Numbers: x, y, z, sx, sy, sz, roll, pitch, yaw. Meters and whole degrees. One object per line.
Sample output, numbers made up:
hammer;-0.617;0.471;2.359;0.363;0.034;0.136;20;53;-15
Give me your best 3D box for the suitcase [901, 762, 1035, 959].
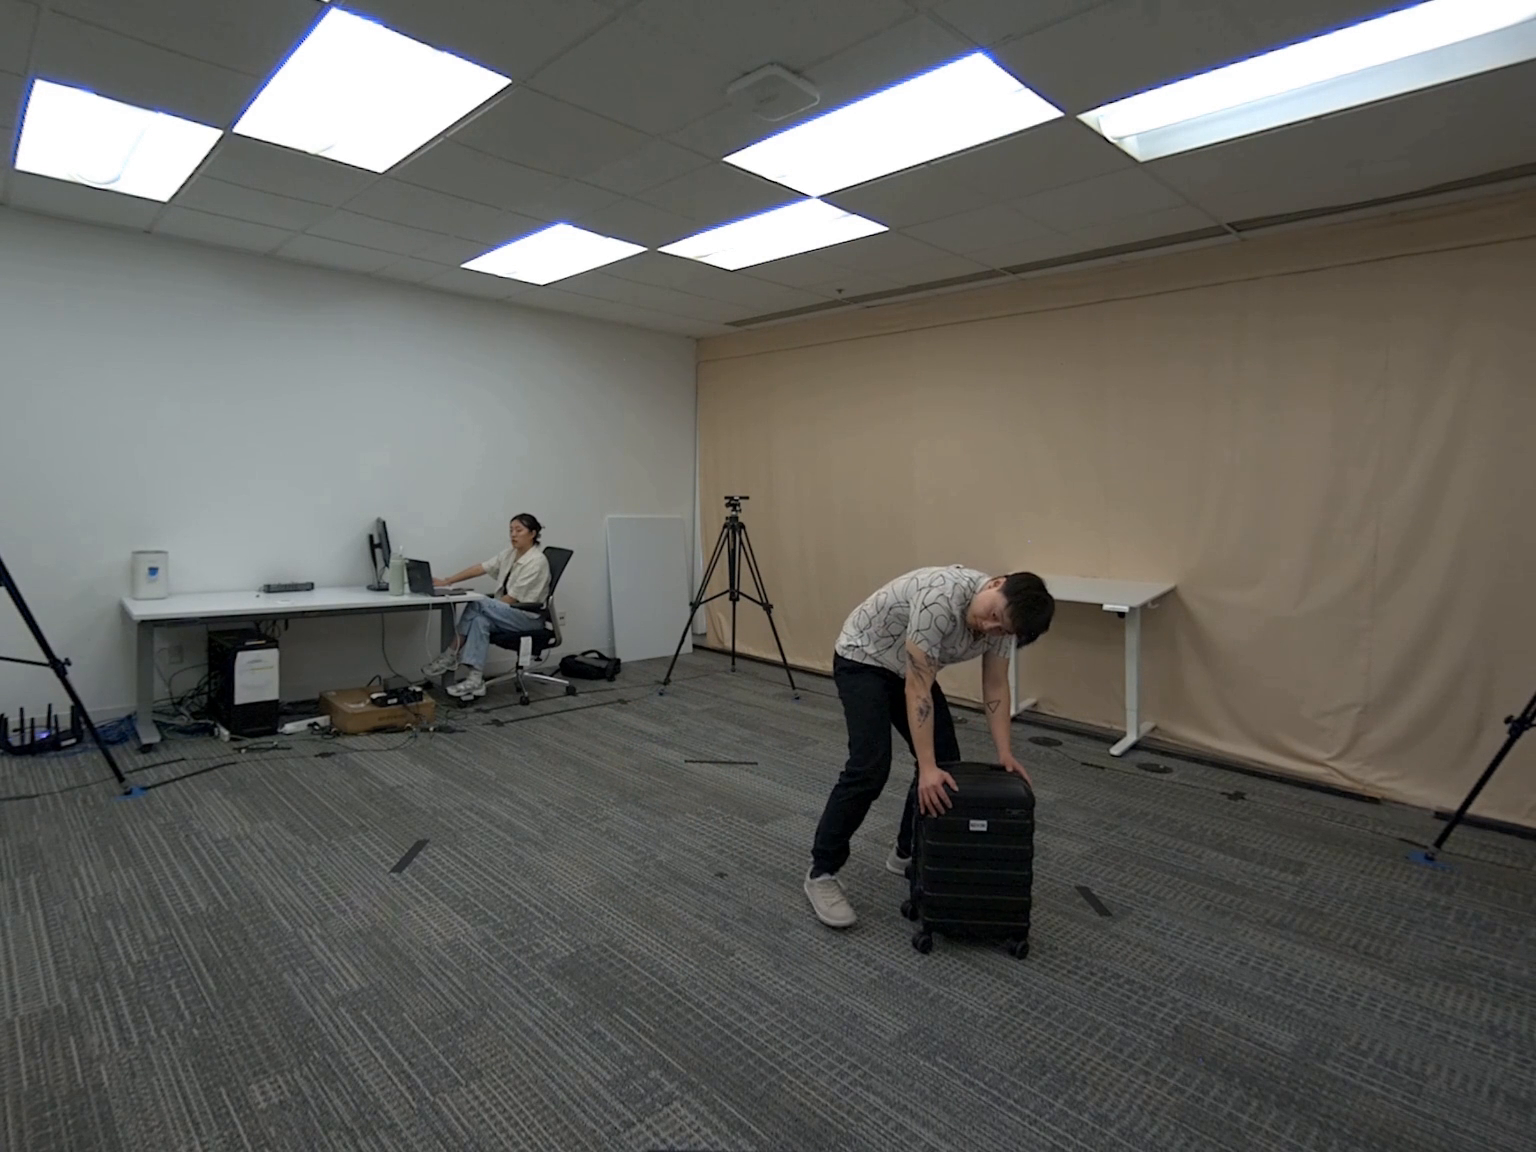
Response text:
suitcase;0.650;0.891;2.697;0.376;0.548;0.248;2;3;3
